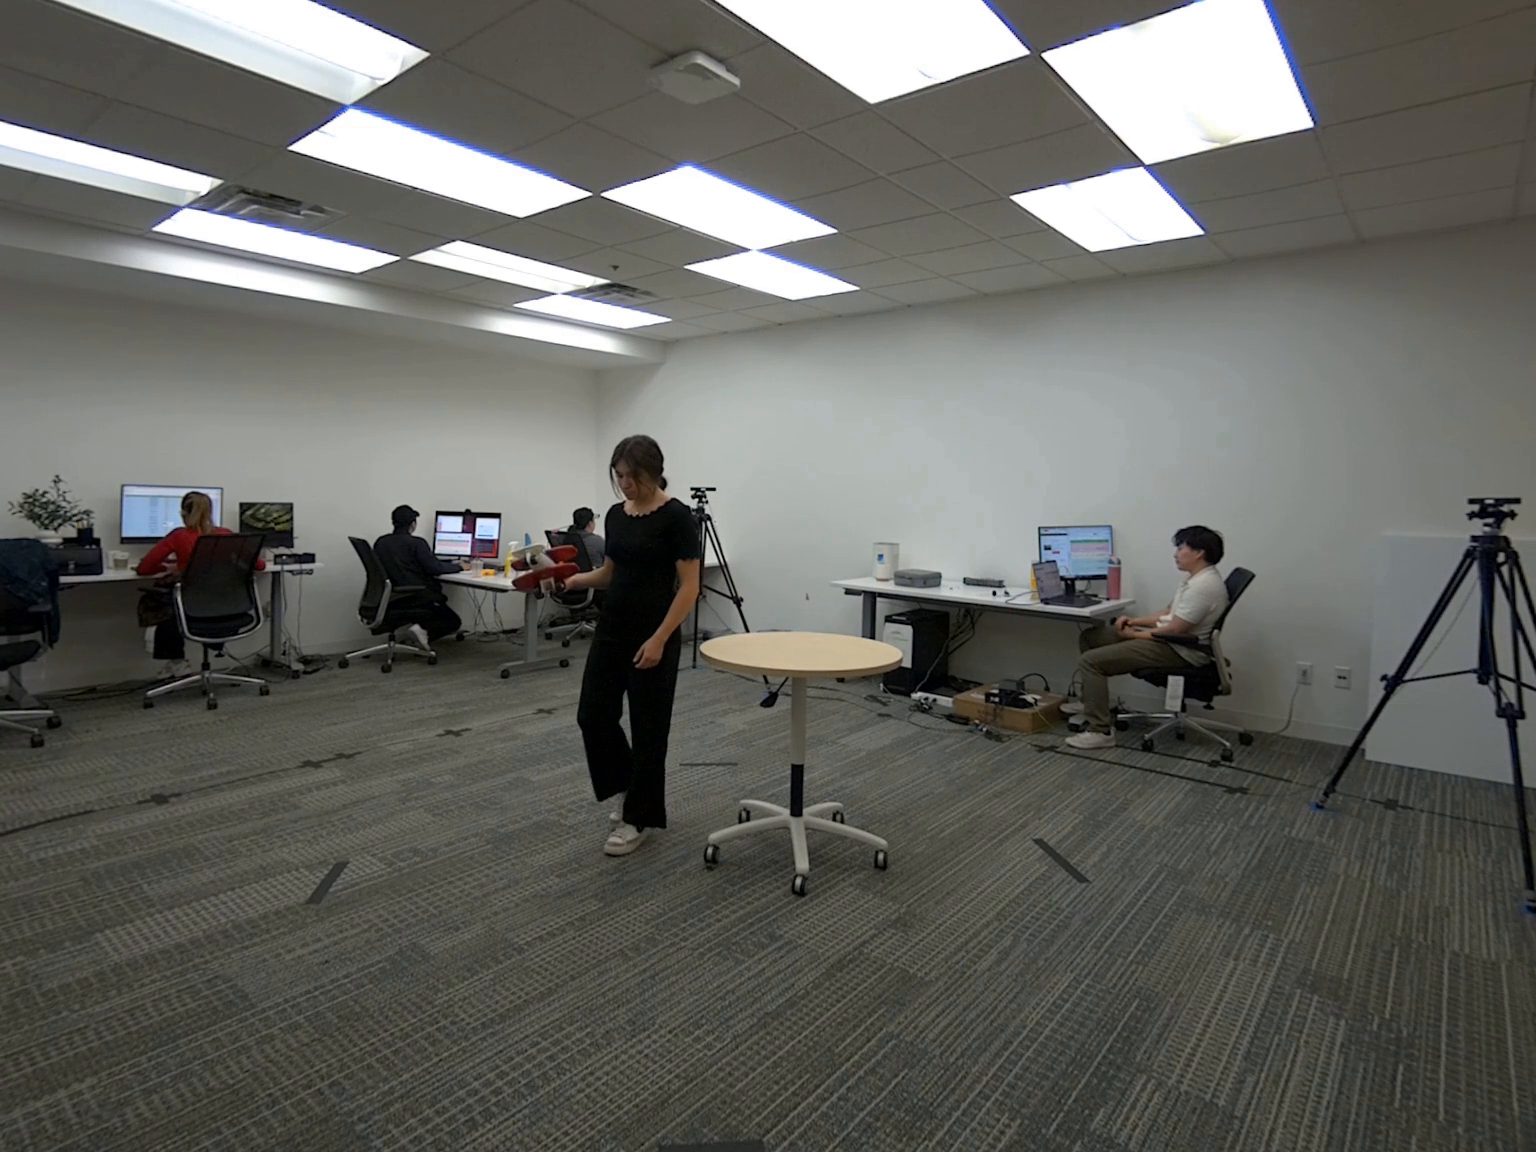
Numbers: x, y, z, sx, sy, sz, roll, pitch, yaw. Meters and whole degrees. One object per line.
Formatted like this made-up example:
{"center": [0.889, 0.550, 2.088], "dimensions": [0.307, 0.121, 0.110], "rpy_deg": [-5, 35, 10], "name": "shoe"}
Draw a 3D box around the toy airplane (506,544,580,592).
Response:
{"center": [-0.849, -0.049, 3.151], "dimensions": [0.247, 0.255, 0.162], "rpy_deg": [4, 45, -16], "name": "toy airplane"}
